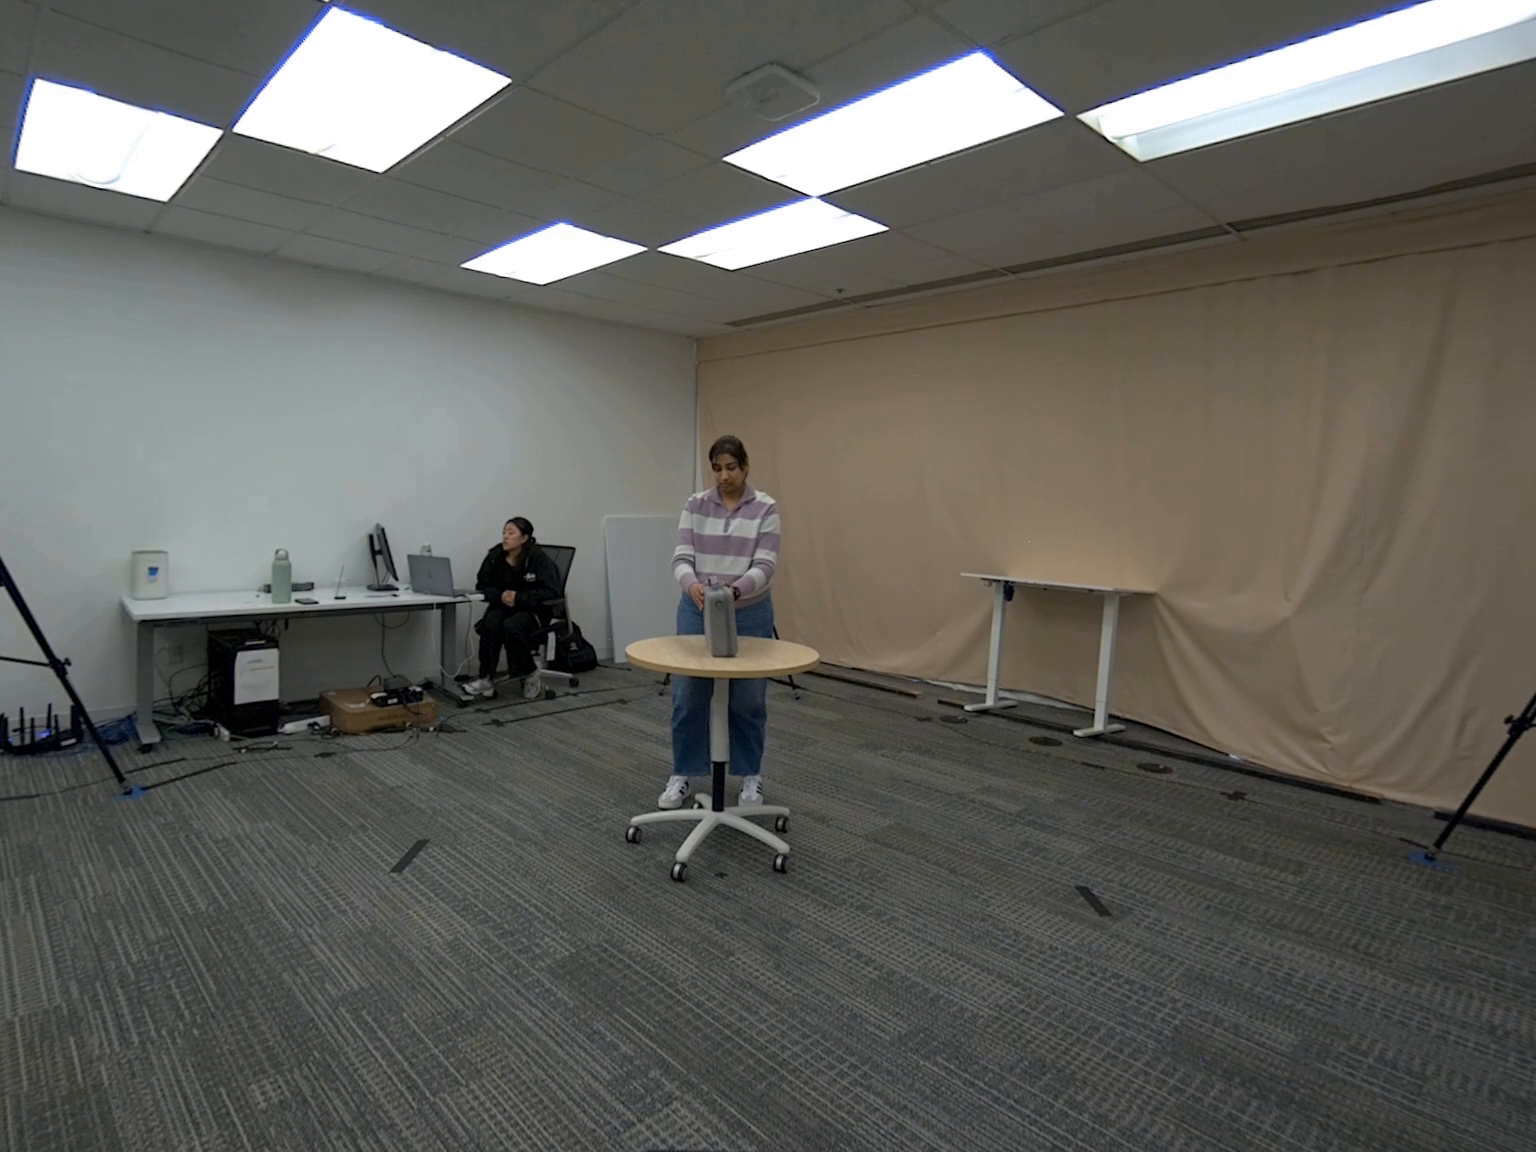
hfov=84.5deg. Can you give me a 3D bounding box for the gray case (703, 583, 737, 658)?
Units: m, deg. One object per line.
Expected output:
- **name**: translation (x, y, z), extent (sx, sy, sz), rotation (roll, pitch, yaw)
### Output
- **gray case**: translation (-0.202, 0.171, 3.304), extent (0.104, 0.259, 0.259), rotation (-5, 5, -5)
